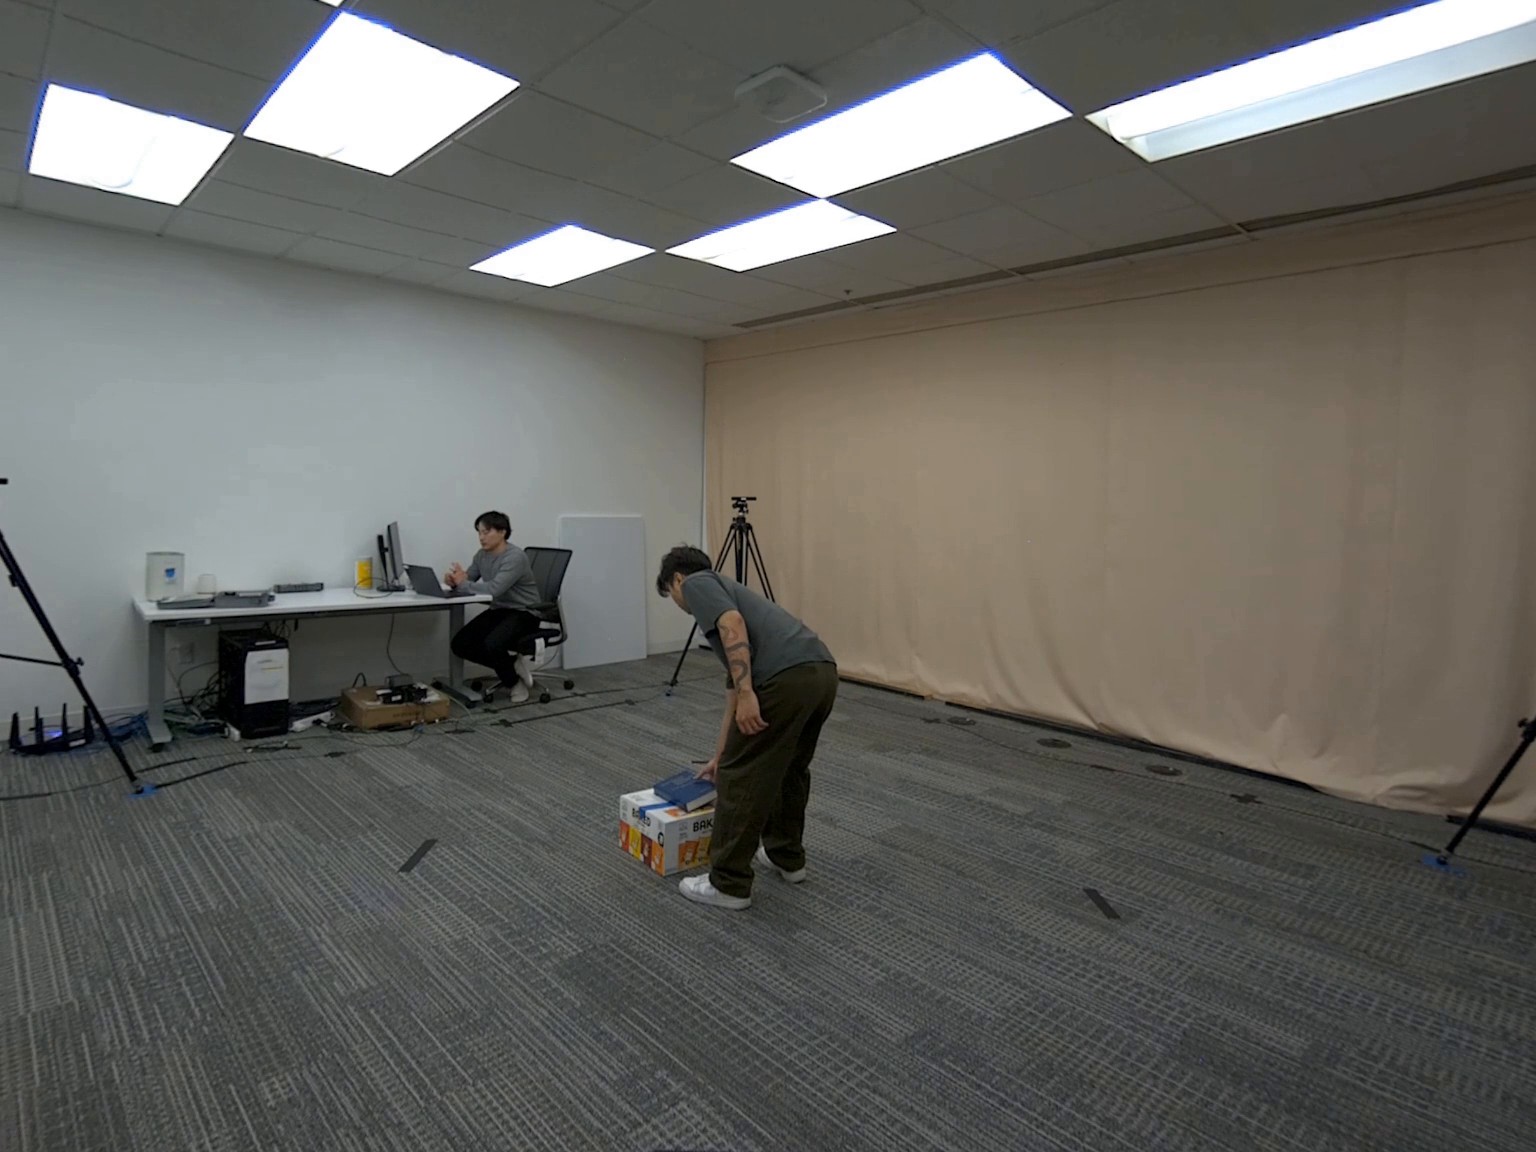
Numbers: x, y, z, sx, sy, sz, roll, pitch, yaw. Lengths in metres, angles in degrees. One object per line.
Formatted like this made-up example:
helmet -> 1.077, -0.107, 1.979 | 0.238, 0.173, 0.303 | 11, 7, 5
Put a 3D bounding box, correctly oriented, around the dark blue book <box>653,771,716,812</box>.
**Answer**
dark blue book -> -0.336, 0.852, 3.329 | 0.161, 0.045, 0.251 | -17, 15, -33
